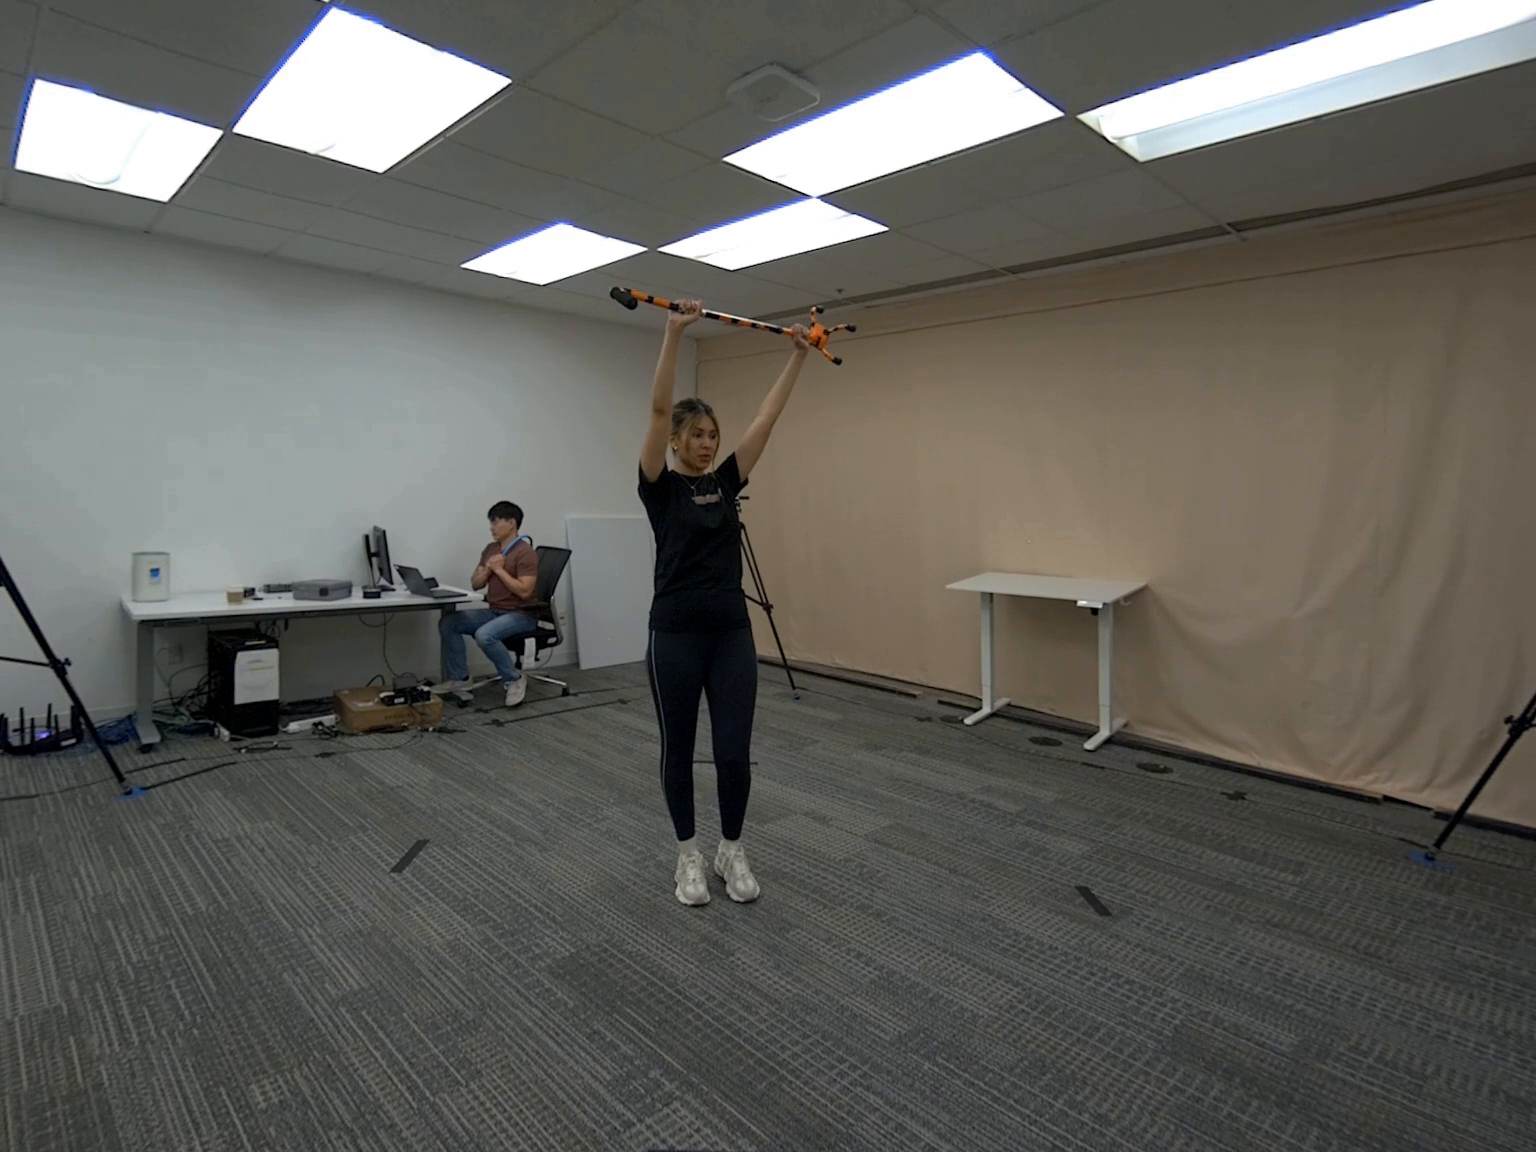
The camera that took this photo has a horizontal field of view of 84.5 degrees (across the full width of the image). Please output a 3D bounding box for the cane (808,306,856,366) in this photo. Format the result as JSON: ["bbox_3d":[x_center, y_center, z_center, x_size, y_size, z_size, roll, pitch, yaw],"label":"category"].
[{"bbox_3d":[-0.114,-0.833,2.691,0.887,0.150,0.213,-3,33,-41],"label":"cane"}]
